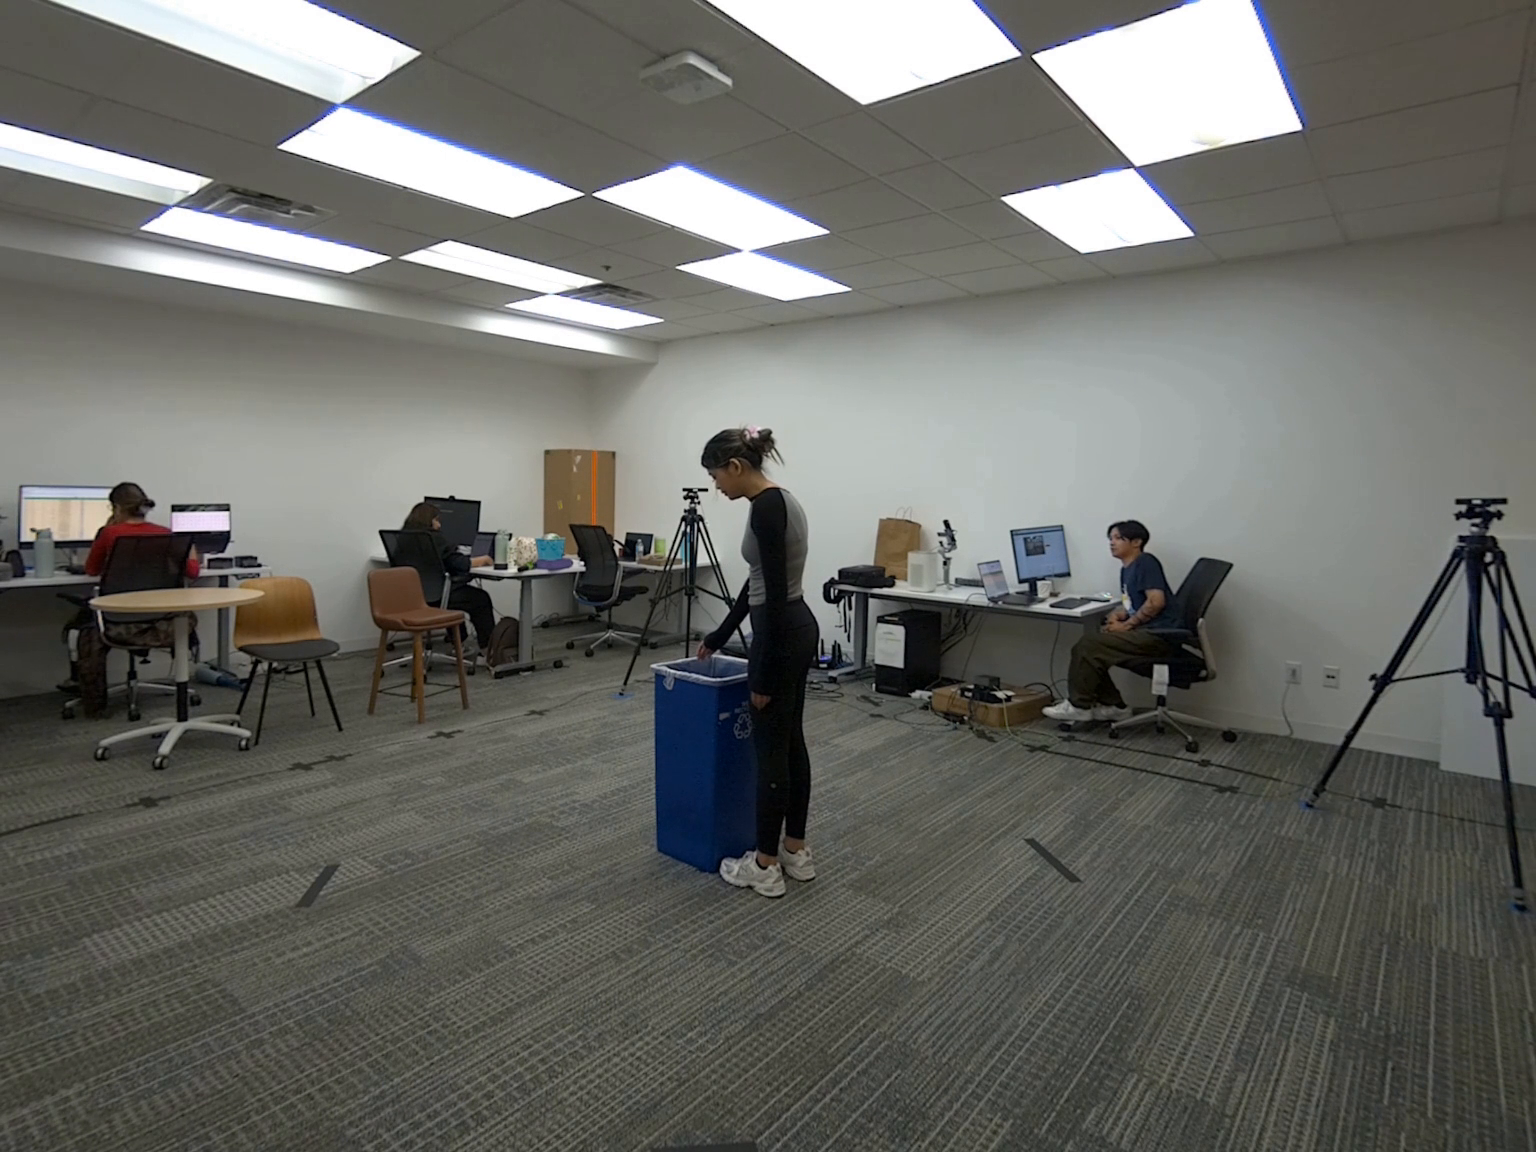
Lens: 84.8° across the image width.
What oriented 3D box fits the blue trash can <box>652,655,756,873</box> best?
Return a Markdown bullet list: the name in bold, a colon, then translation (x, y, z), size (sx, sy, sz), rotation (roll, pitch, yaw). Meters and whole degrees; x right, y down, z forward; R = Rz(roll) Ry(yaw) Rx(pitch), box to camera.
- **blue trash can**: translation (-0.223, 0.696, 3.270), size (0.391, 0.711, 0.363), rotation (4, 4, 40)
